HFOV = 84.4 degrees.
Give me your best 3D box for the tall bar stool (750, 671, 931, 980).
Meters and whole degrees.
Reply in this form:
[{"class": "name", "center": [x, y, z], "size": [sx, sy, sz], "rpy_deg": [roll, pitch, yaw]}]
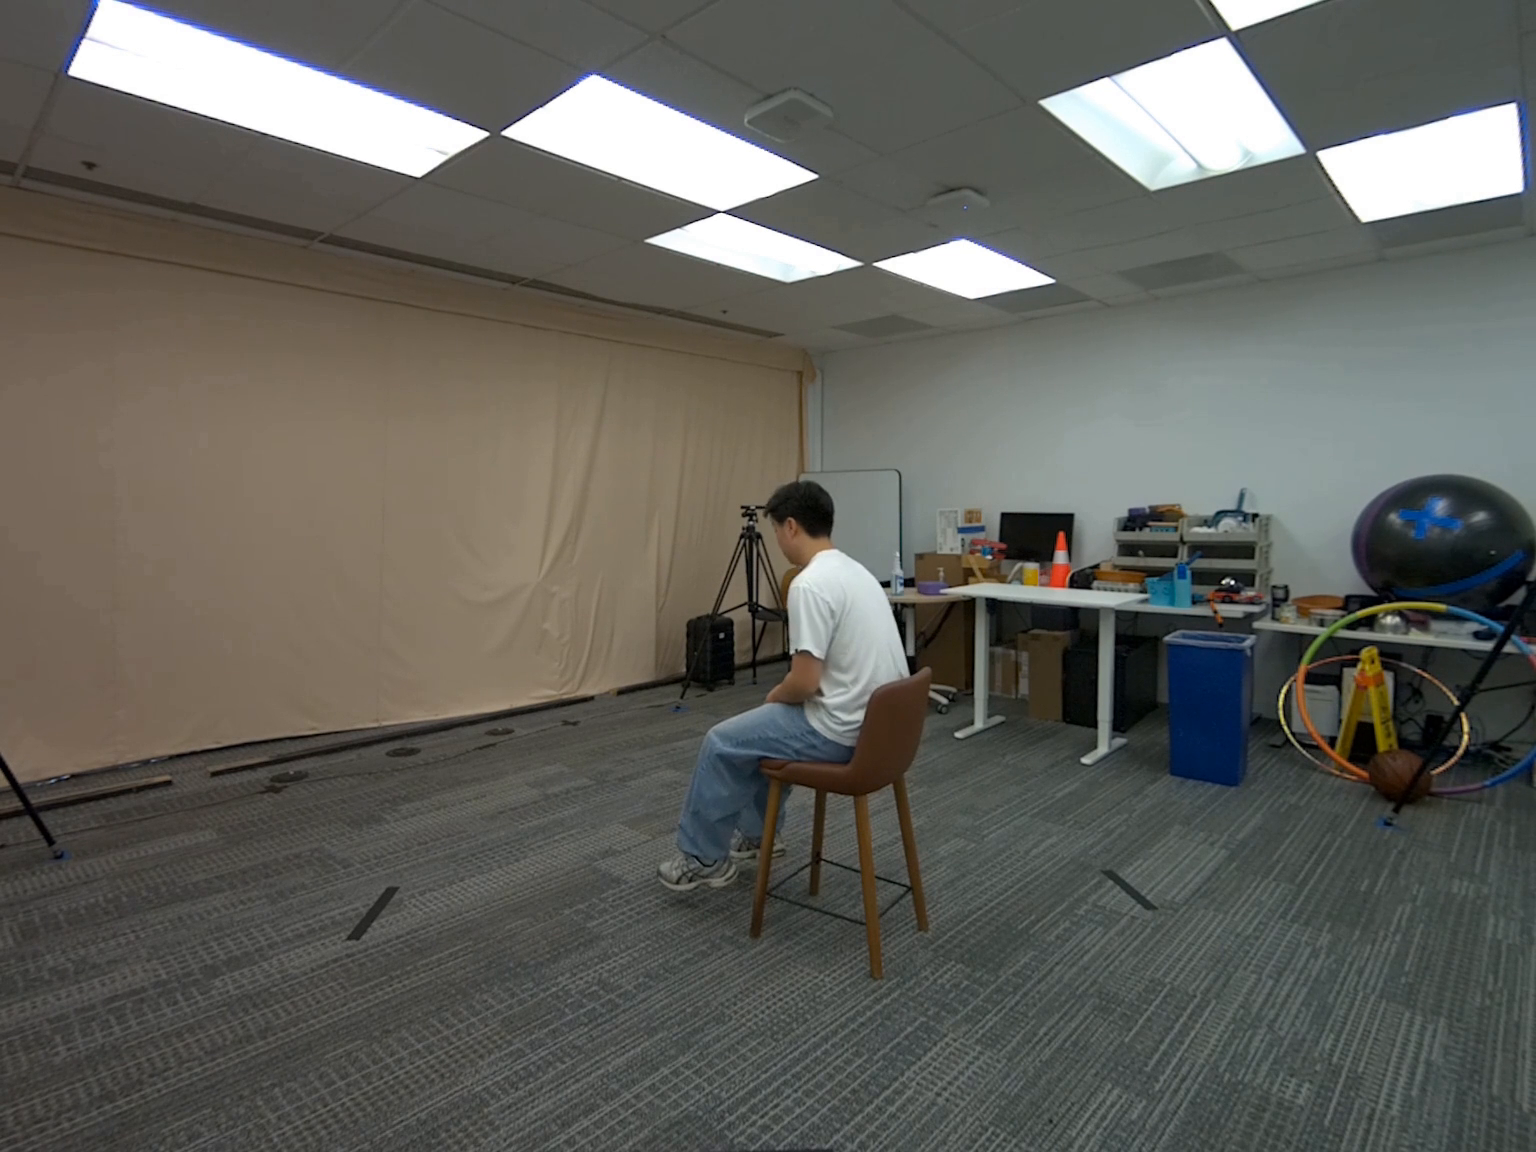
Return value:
[{"class": "tall bar stool", "center": [0.256, 0.732, 2.714], "size": [0.482, 0.887, 0.443], "rpy_deg": [5, 6, 34]}]
